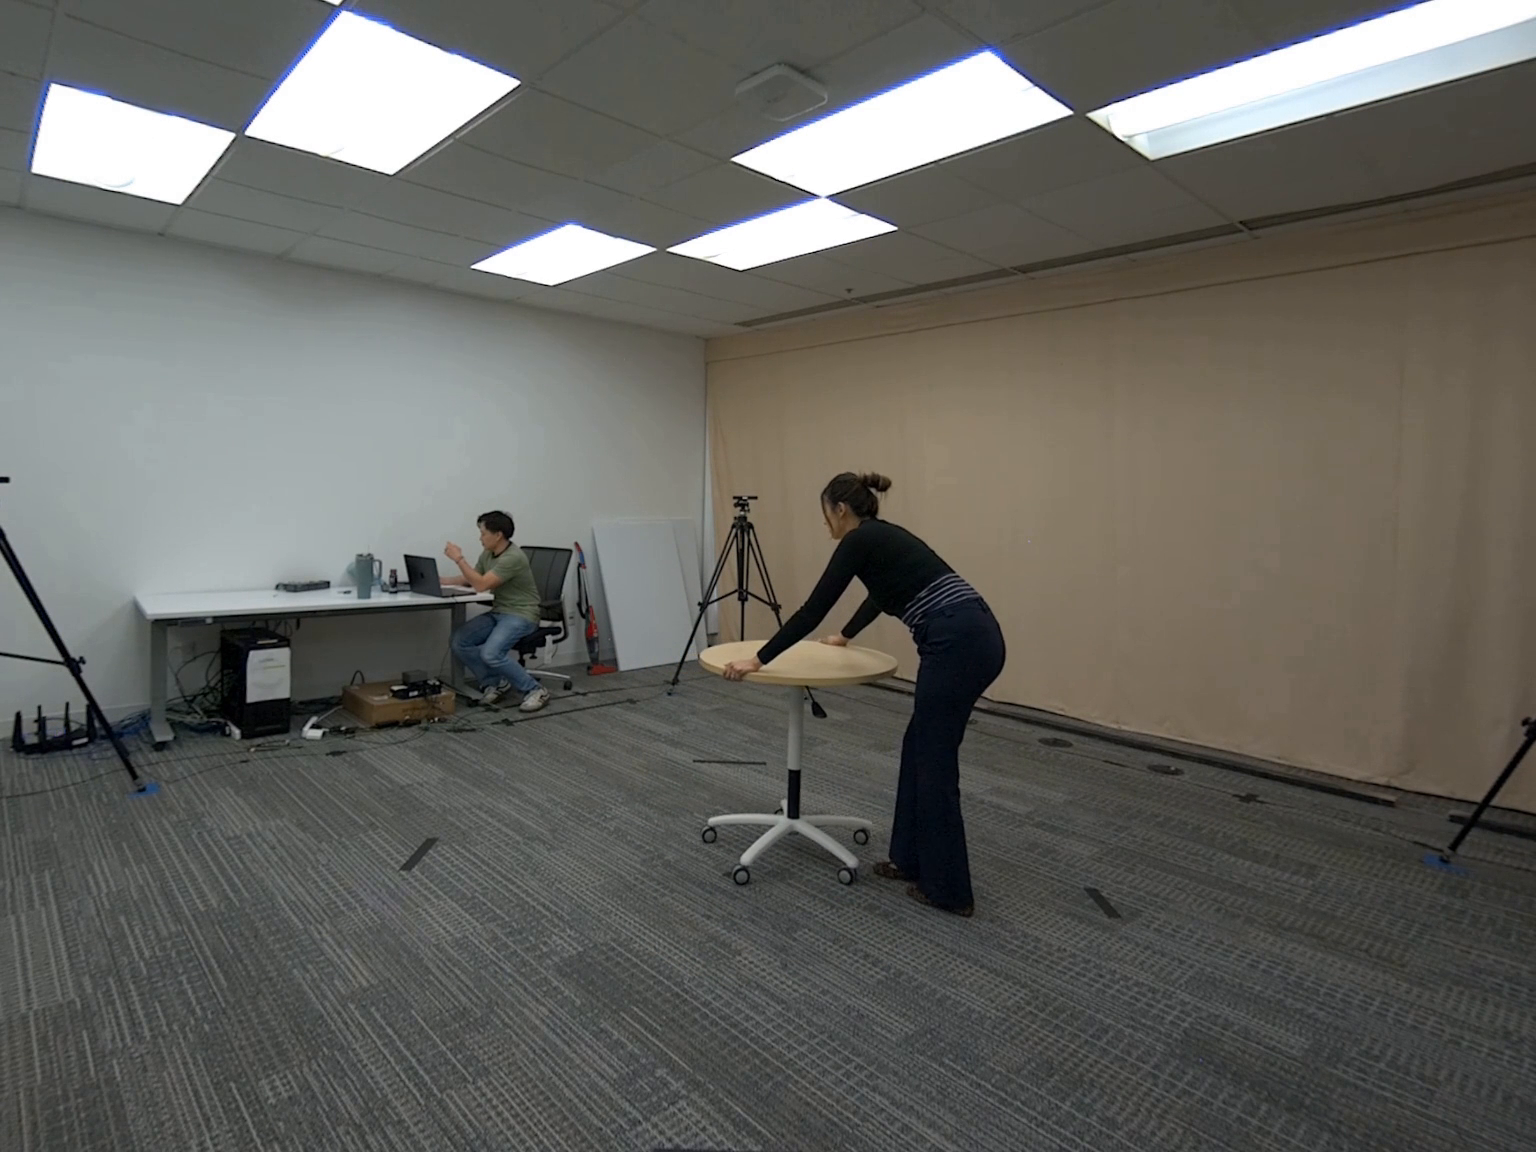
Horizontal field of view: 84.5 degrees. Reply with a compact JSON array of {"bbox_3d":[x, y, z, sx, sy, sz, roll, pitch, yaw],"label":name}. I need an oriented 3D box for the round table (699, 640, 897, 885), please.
[{"bbox_3d":[0.086,0.706,3.296,0.763,0.792,0.766,1,4,-1],"label":"round table"}]
